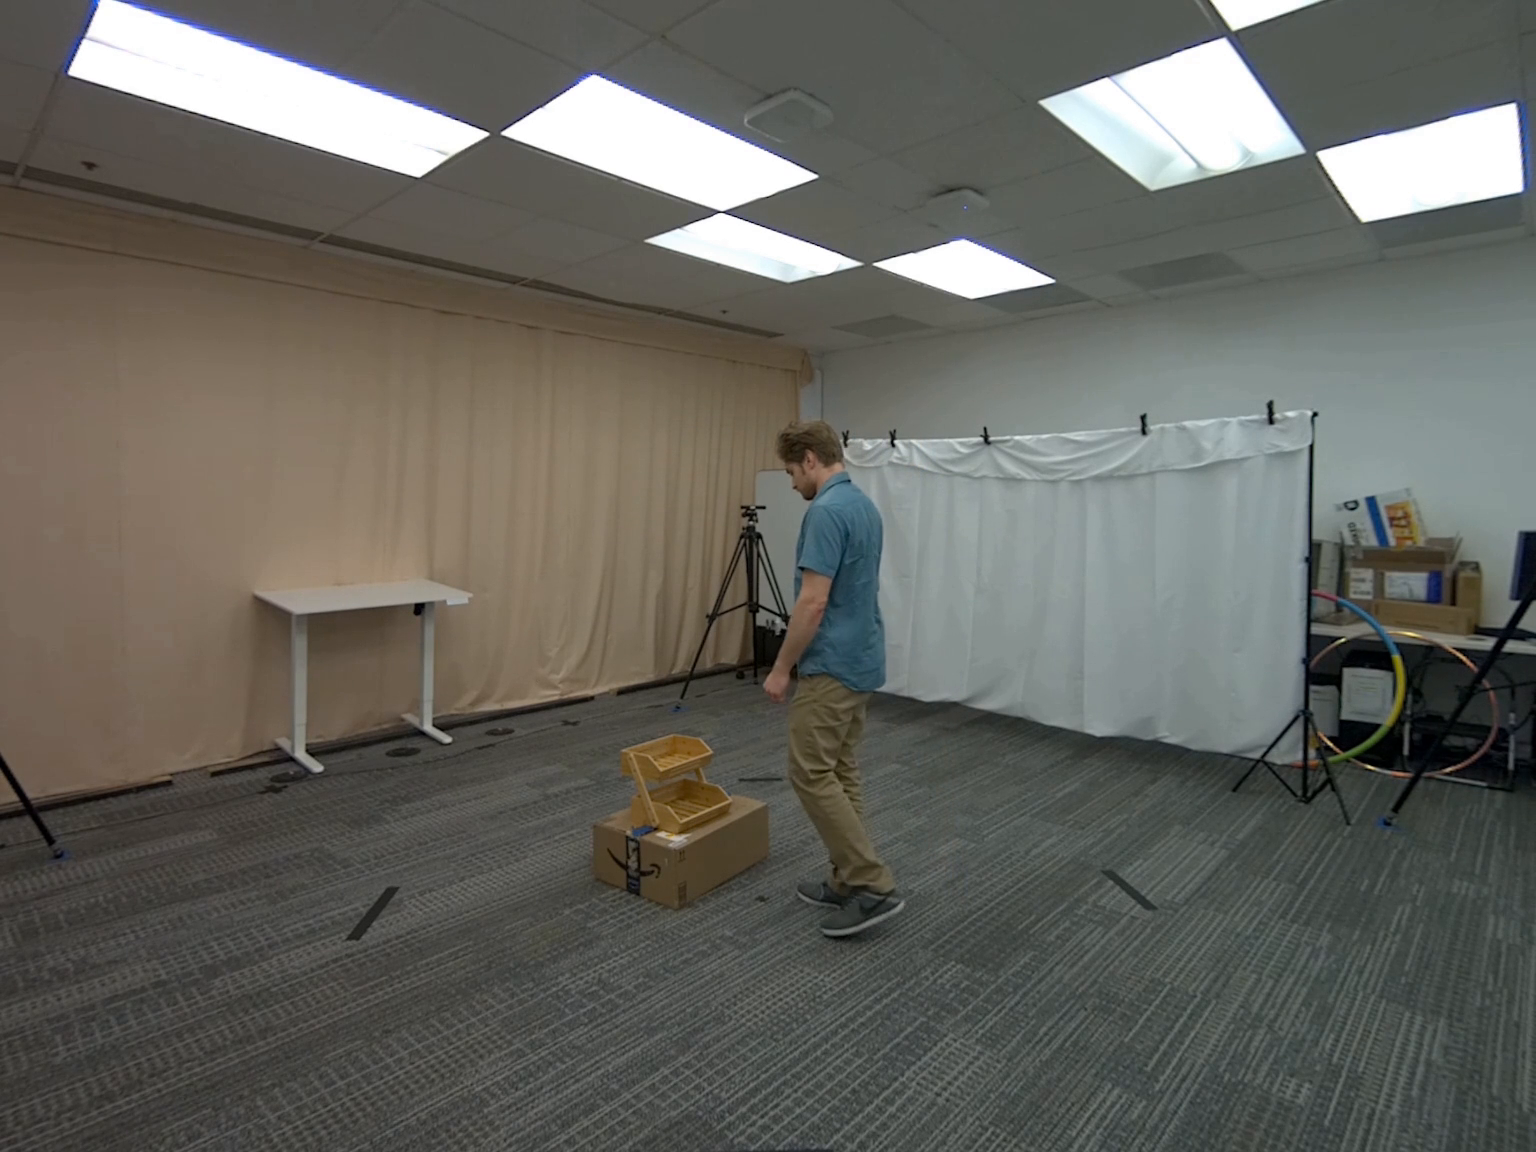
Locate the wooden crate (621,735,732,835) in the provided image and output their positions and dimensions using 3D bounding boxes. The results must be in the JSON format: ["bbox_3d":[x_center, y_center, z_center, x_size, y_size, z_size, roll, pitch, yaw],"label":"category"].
[{"bbox_3d":[-0.347,0.782,3.215,0.311,0.273,0.315,1,3,38],"label":"wooden crate"}]
